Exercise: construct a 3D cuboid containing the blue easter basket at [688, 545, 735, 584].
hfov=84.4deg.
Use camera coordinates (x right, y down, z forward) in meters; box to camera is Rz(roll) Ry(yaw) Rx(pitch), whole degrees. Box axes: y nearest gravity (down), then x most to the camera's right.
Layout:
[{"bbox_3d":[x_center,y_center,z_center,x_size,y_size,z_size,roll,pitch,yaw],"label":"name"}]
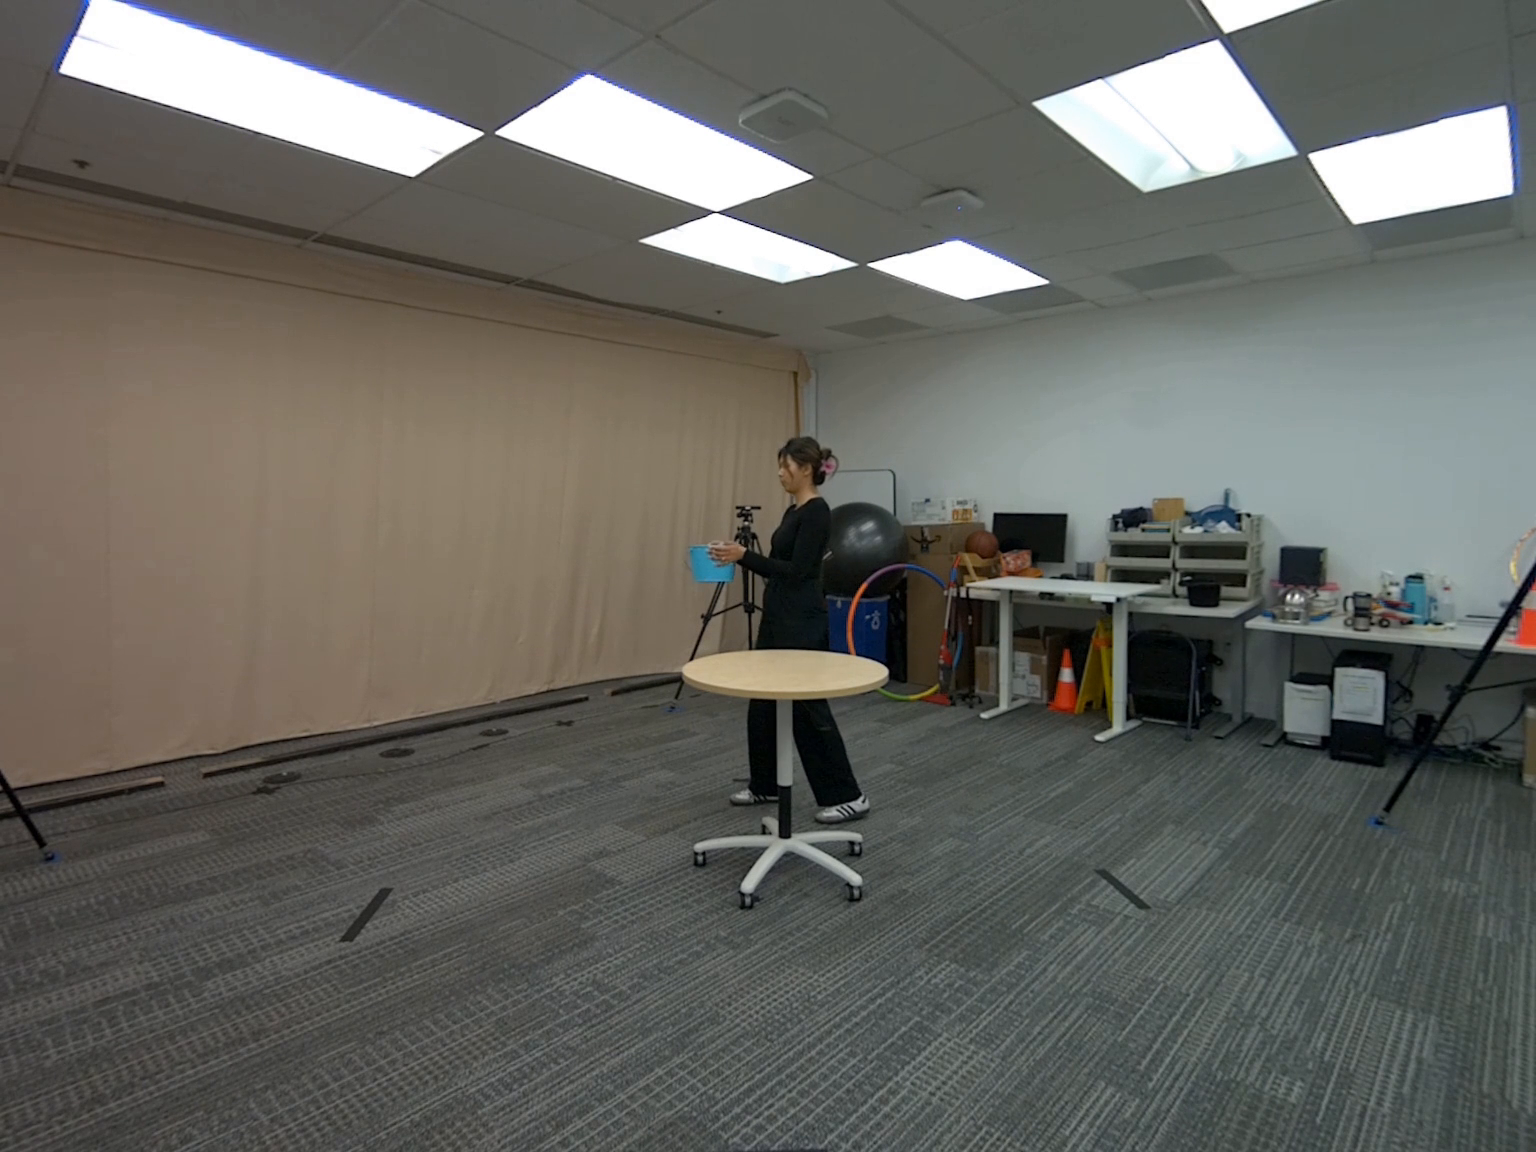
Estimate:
[{"bbox_3d":[-0.237,-0.049,3.765,0.243,0.156,0.244,0,0,-2],"label":"blue easter basket"}]
